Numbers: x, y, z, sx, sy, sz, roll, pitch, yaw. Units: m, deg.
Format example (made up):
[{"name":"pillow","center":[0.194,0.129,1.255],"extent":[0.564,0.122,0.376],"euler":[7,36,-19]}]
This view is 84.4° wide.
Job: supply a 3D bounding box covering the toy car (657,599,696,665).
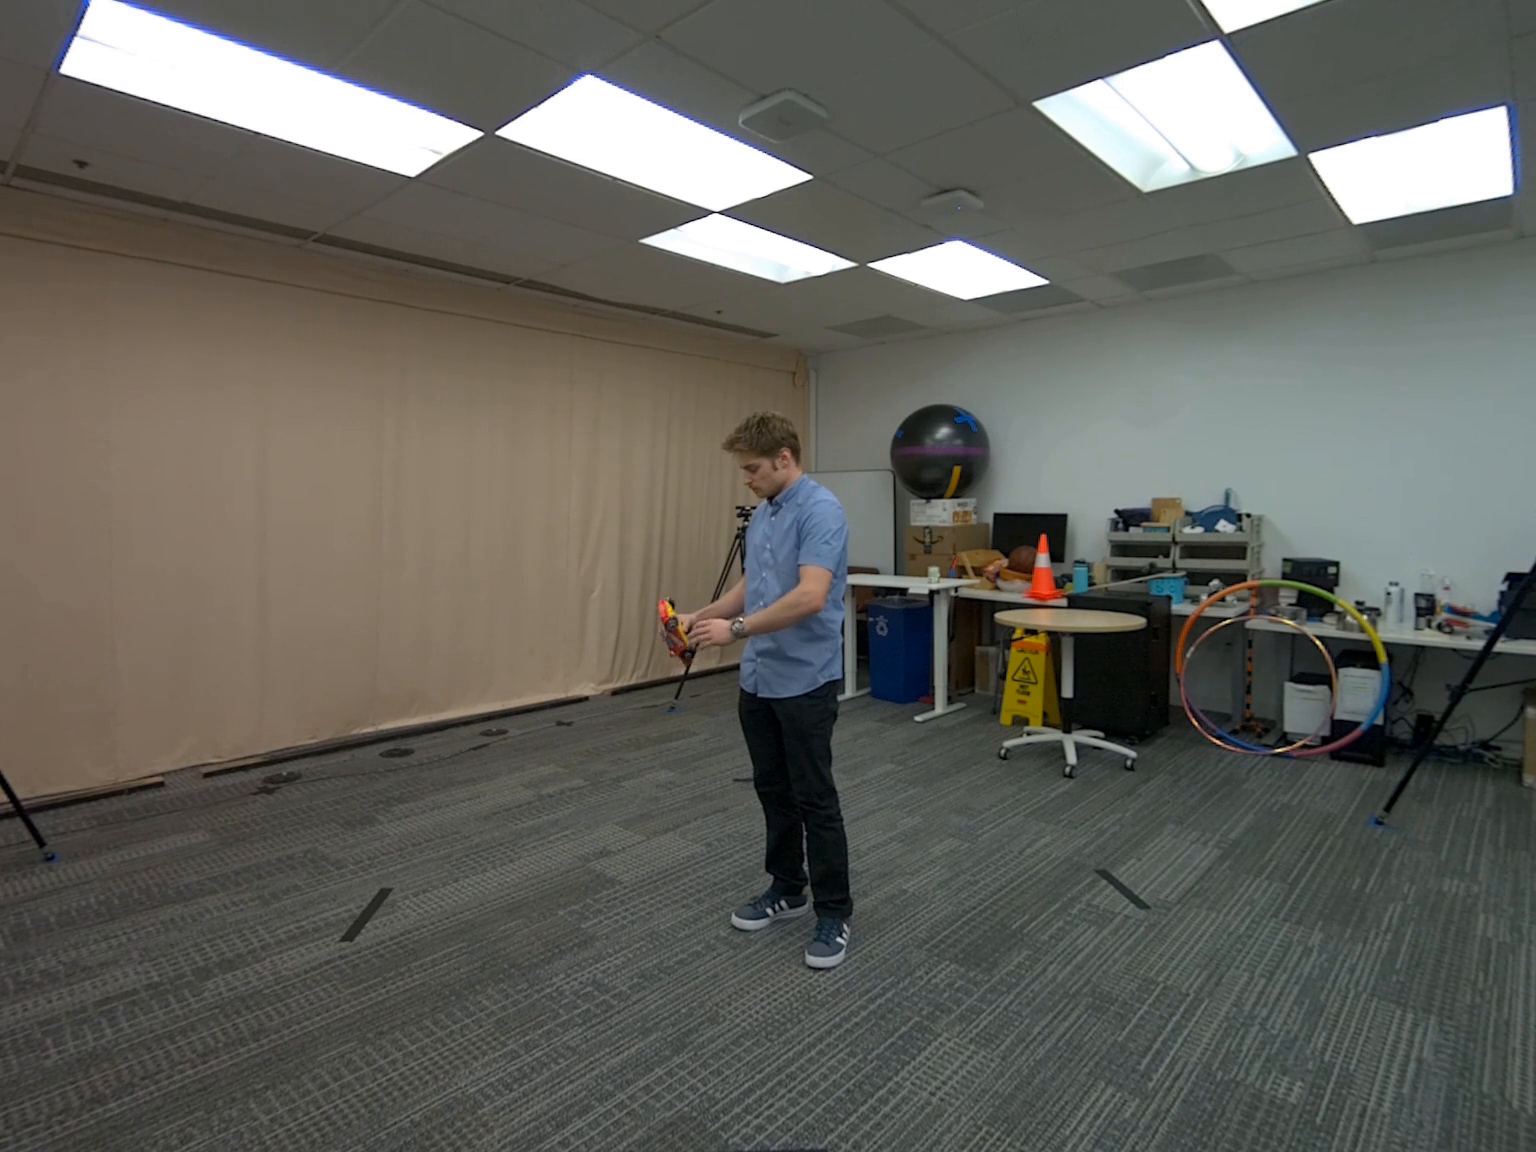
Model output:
[{"name":"toy car","center":[-0.285,0.188,2.733],"extent":[0.083,0.249,0.134],"euler":[-12,39,-5]}]
